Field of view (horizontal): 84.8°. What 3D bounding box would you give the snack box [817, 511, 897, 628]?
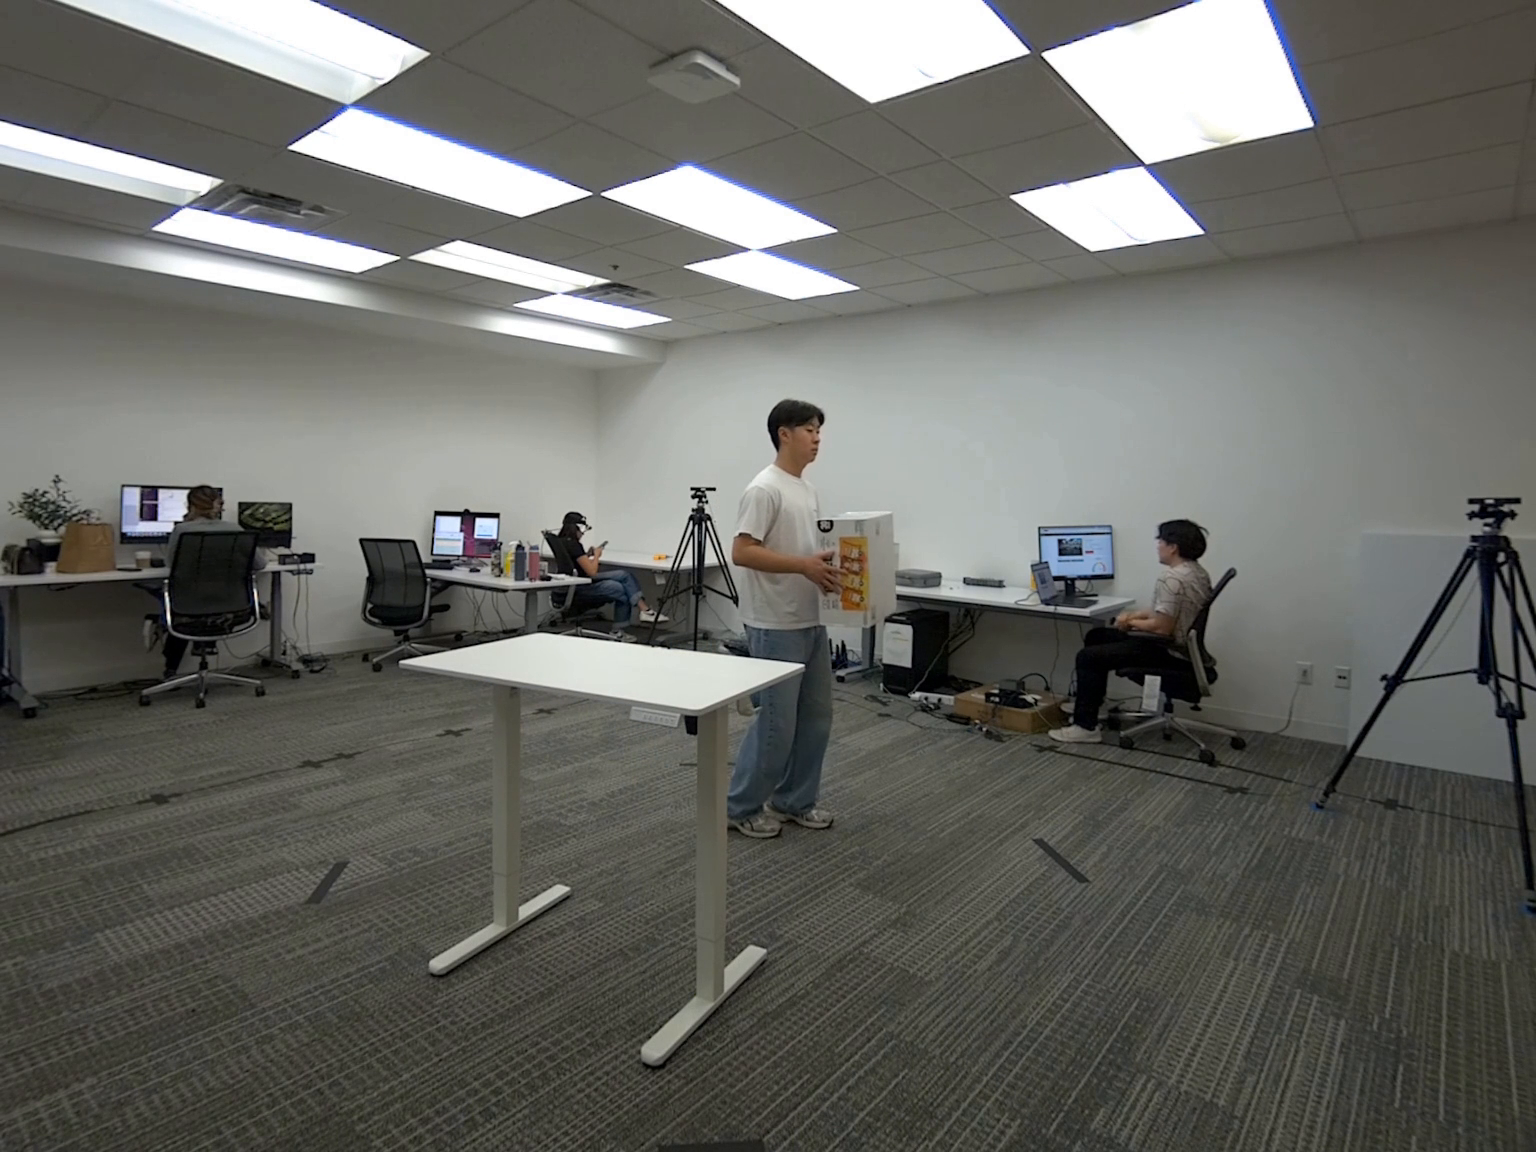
[{"bbox_3d":[0.337,-0.037,3.326,0.211,0.403,0.333,0,6,27],"label":"snack box"}]
